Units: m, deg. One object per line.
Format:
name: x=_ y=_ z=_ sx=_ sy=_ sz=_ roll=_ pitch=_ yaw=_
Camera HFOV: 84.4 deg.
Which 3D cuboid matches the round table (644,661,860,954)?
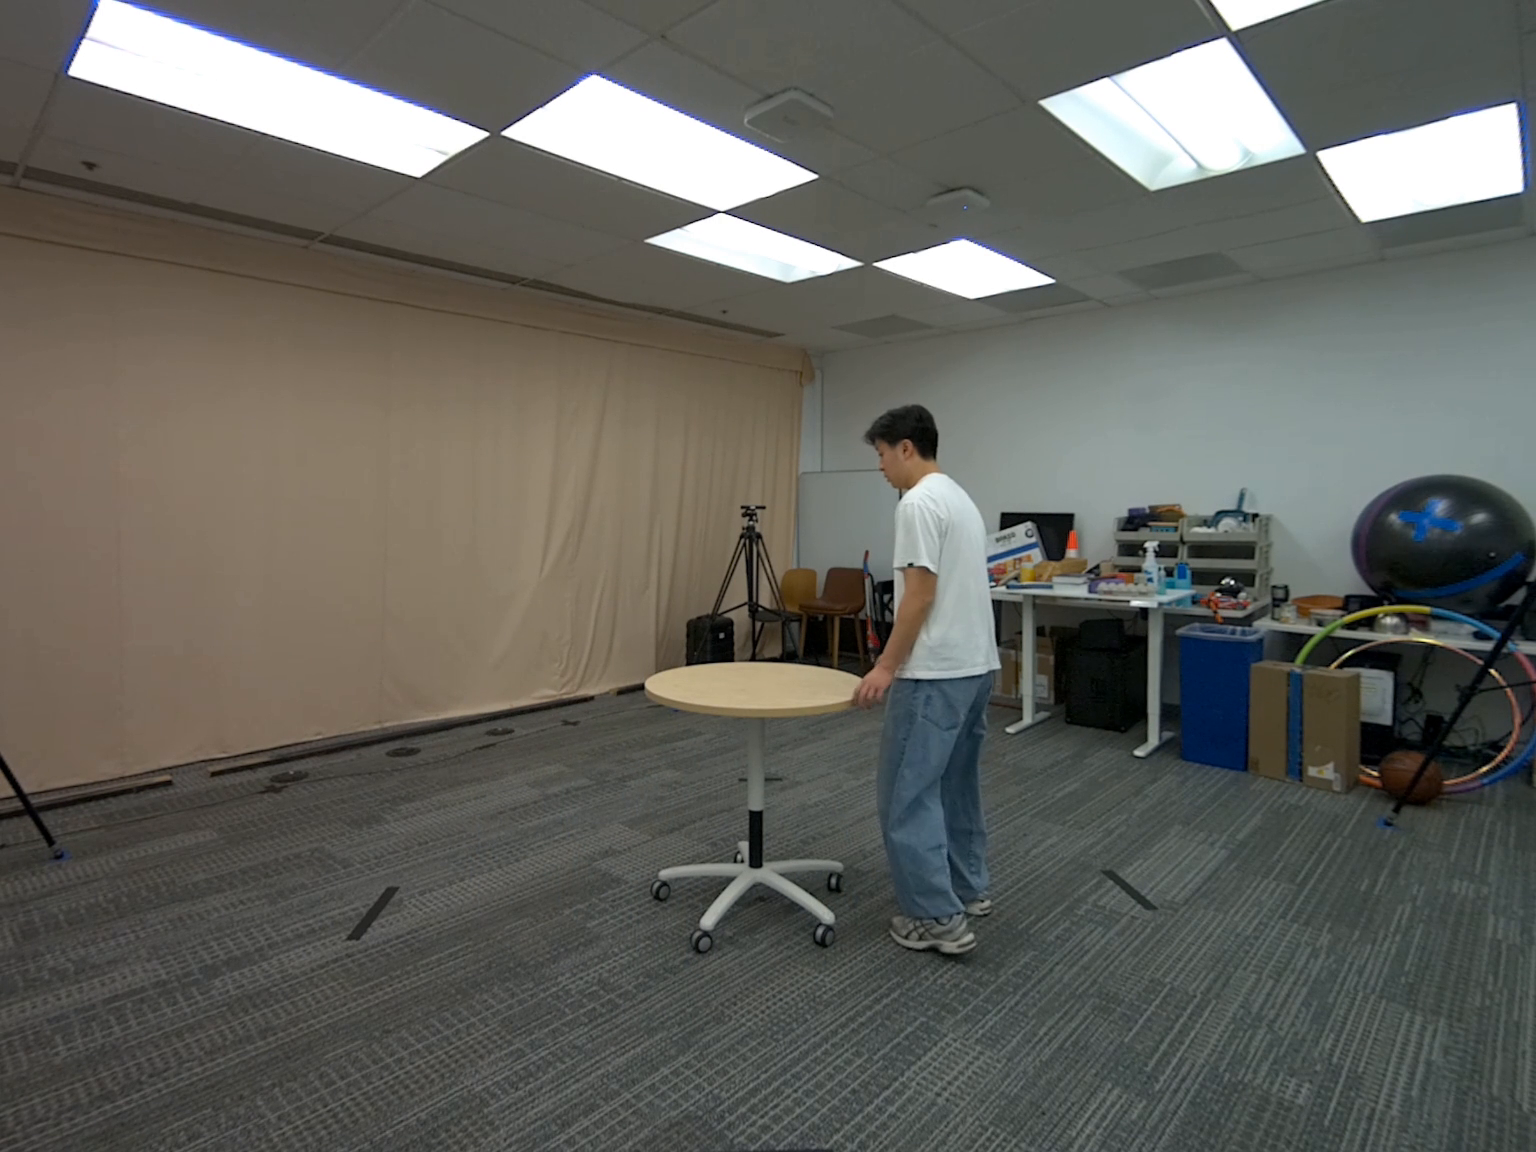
round table: x=-0.041 y=0.762 z=2.917 sx=0.763 sy=0.792 sz=0.767 roll=0 pitch=4 yaw=-2
